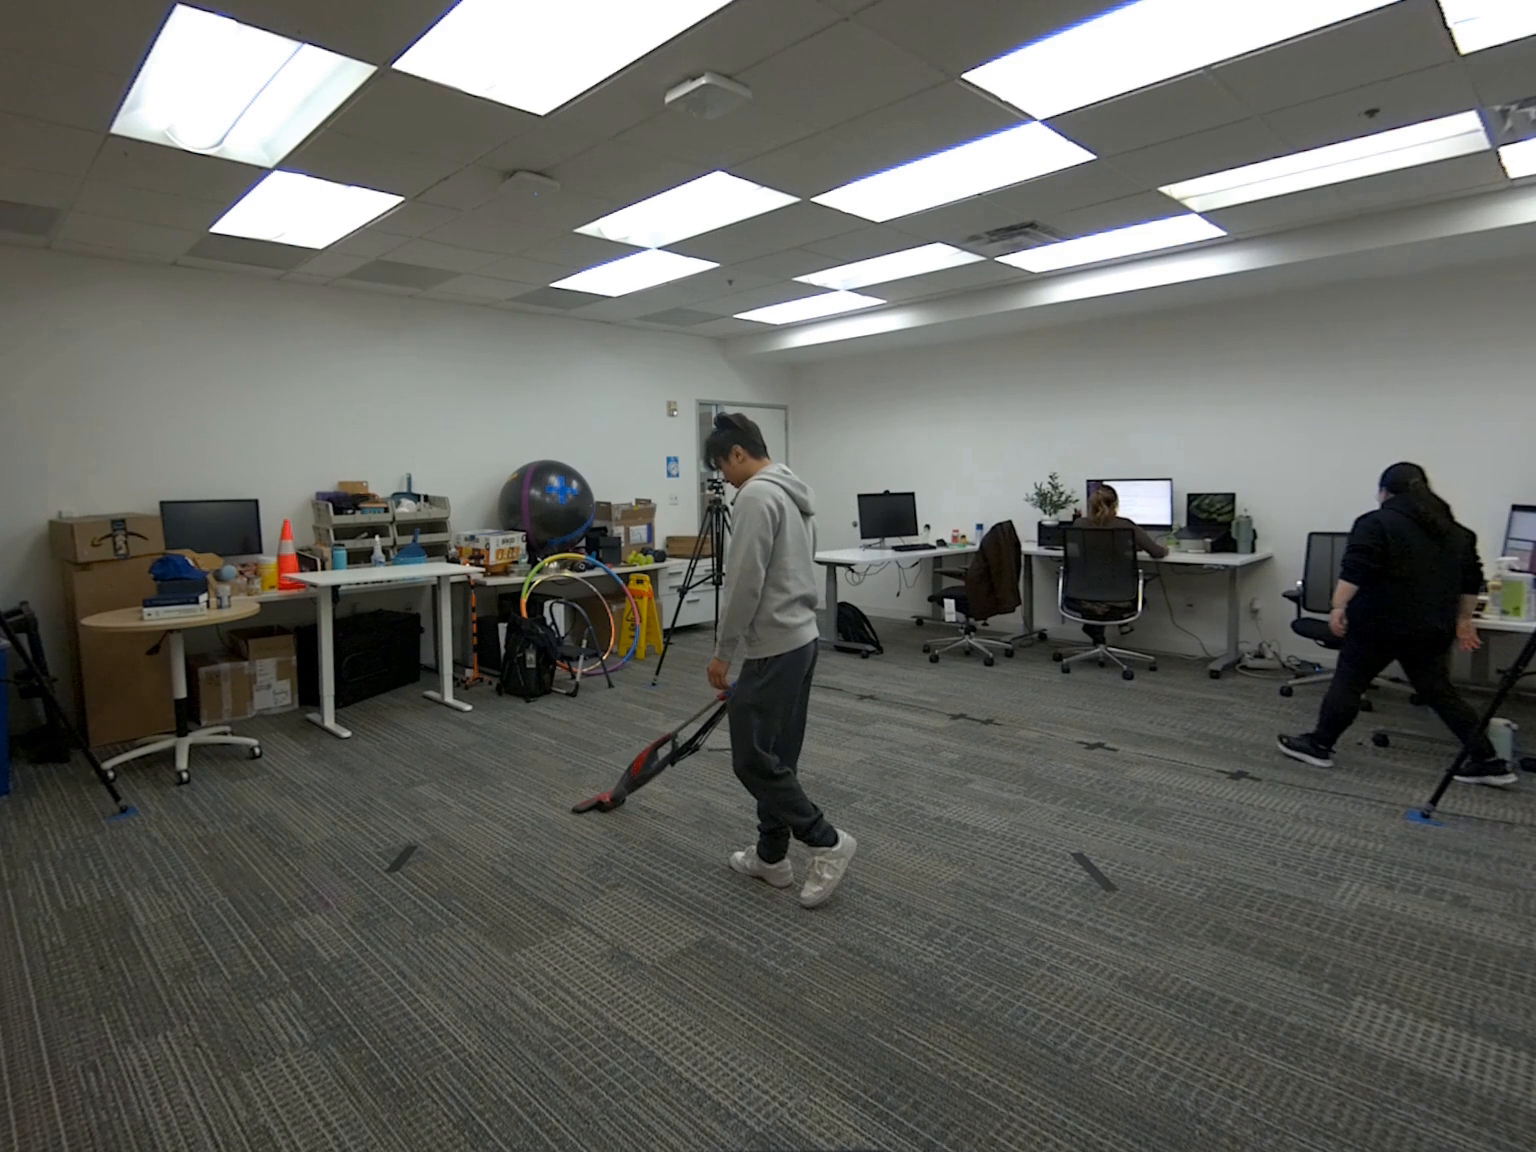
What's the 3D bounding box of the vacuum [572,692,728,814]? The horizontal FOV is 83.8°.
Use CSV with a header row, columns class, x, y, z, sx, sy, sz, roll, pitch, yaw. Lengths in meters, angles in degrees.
class,x,y,z,sx,sy,sz,roll,pitch,yaw
vacuum,-0.367,0.685,3.432,1.052,0.146,0.247,-40,-13,30
